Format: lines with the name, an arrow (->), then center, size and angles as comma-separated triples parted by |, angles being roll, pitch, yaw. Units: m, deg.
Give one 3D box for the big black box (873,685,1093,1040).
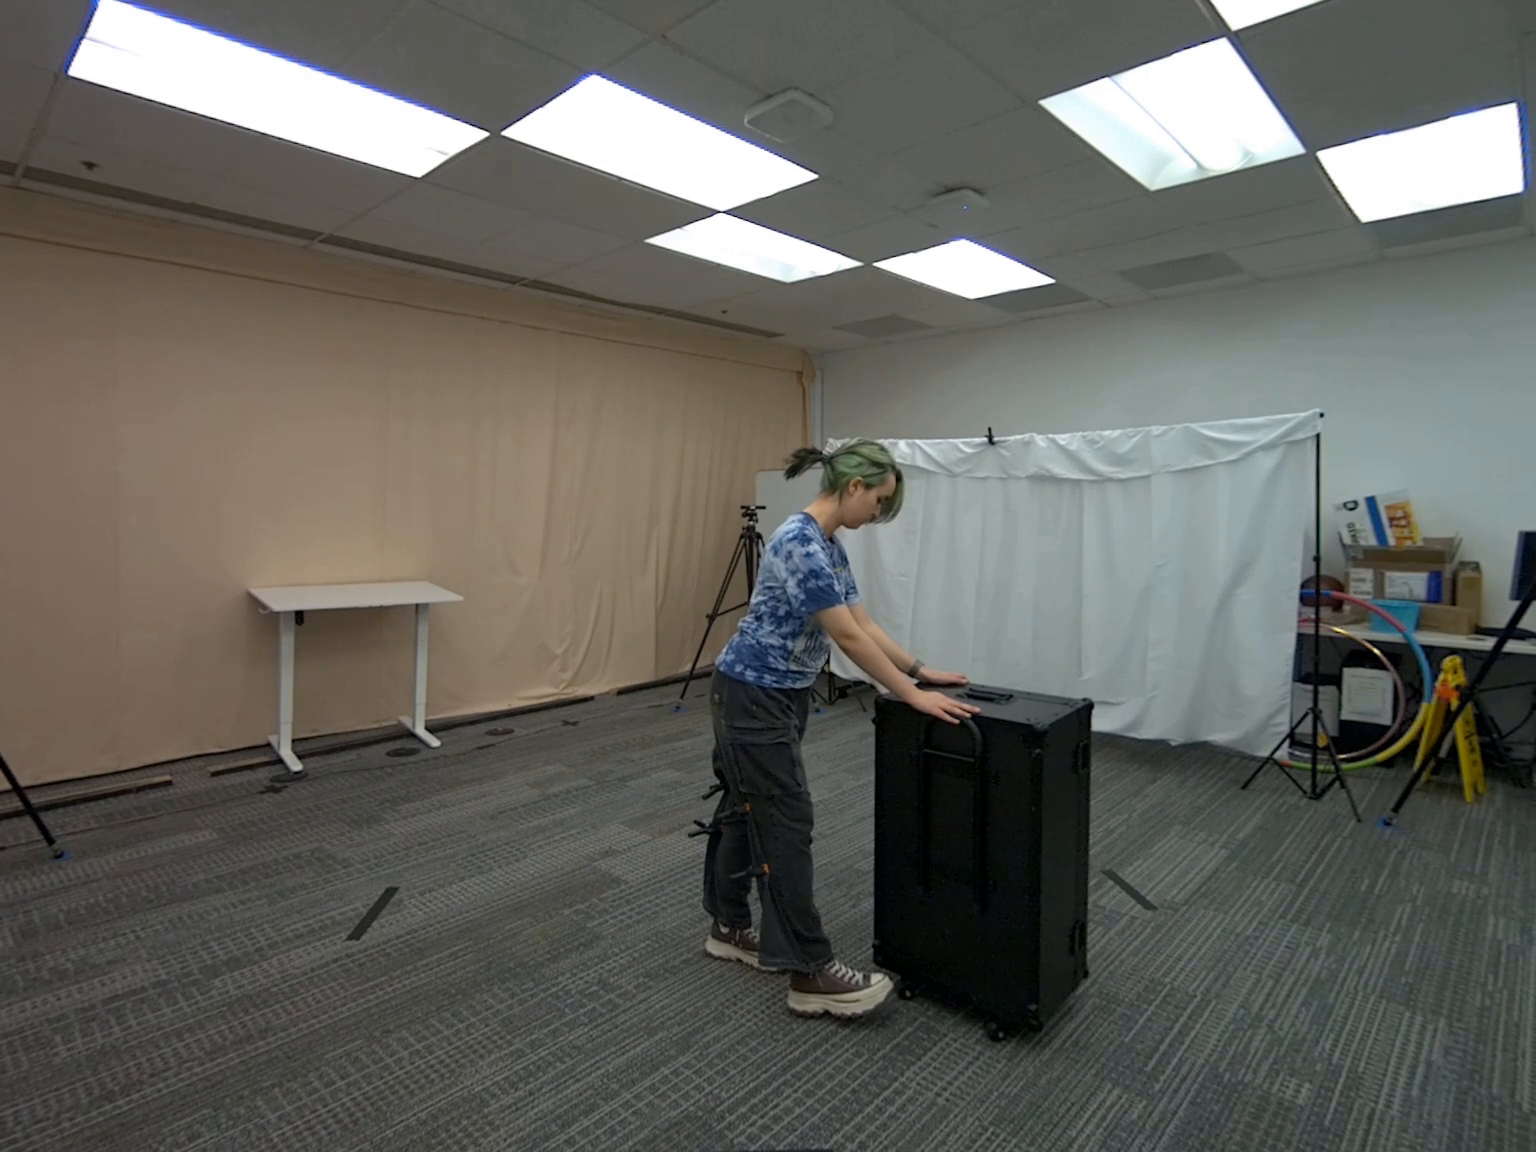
big black box -> 0.605, 0.769, 2.361 | 0.538, 0.859, 0.384 | 2, 5, 41
